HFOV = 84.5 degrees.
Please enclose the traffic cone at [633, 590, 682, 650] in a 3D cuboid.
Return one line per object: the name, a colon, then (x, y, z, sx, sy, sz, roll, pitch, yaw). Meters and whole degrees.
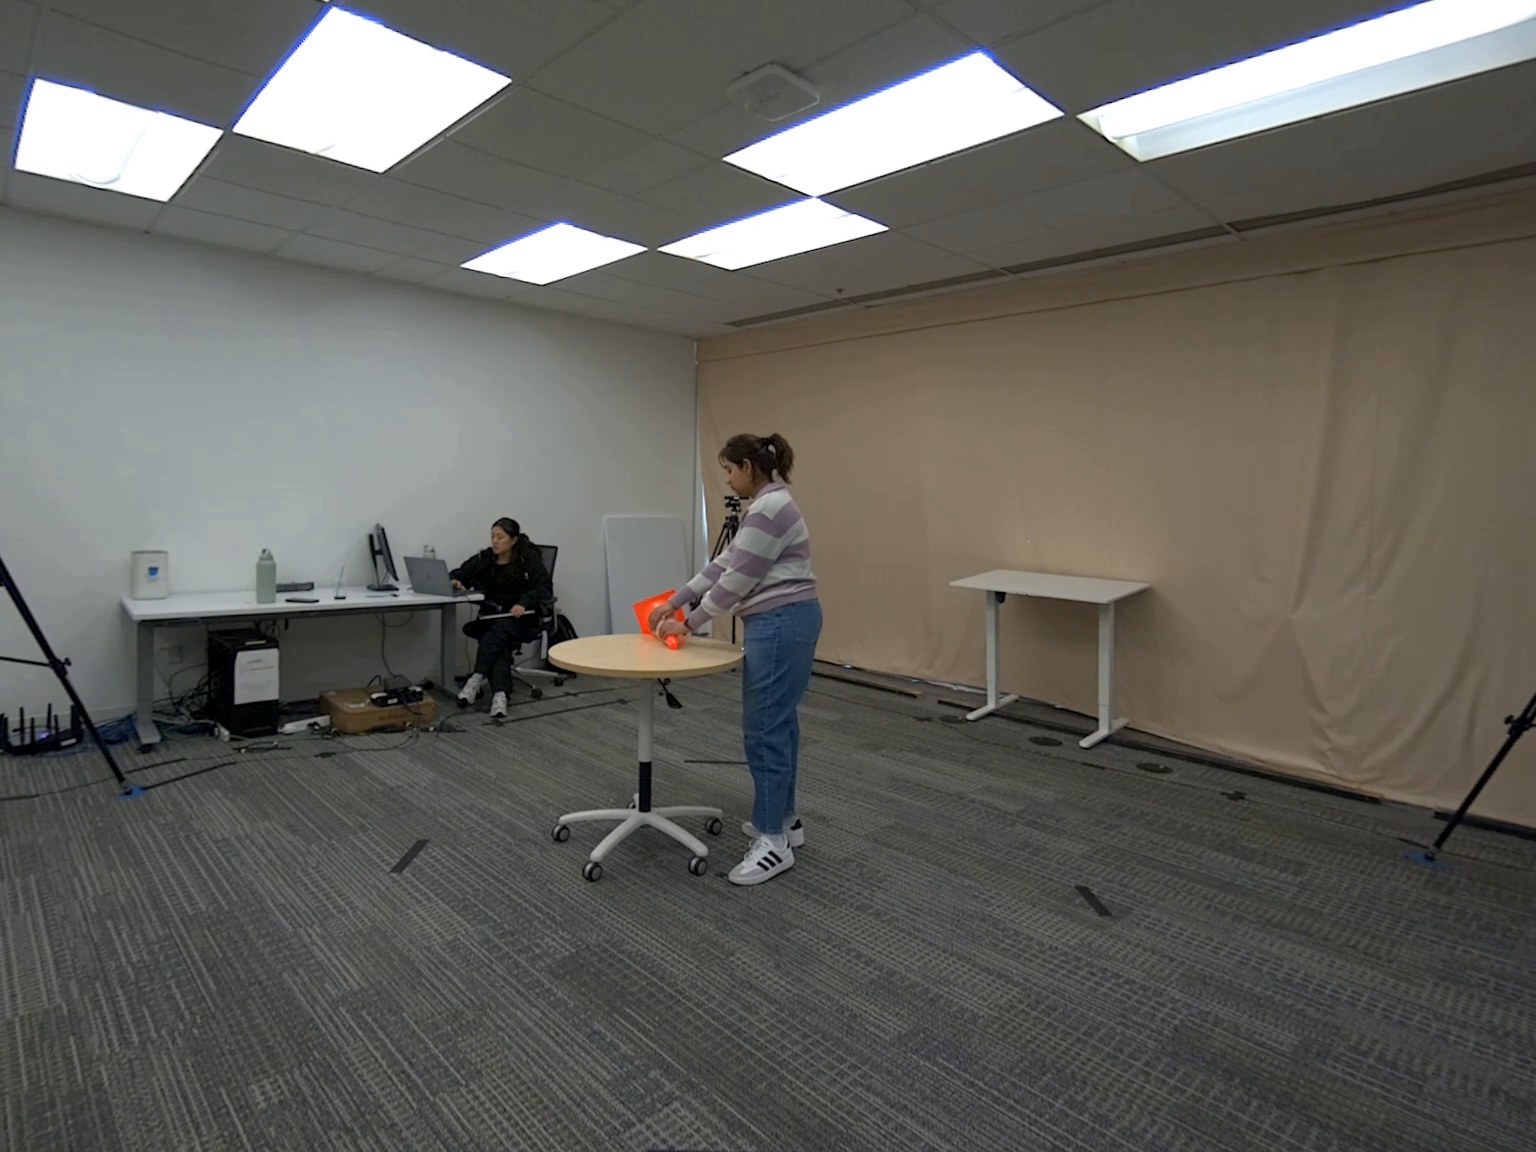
traffic cone: (-0.422, 0.230, 3.514, 0.202, 0.202, 0.391, -19, 19, -8)
